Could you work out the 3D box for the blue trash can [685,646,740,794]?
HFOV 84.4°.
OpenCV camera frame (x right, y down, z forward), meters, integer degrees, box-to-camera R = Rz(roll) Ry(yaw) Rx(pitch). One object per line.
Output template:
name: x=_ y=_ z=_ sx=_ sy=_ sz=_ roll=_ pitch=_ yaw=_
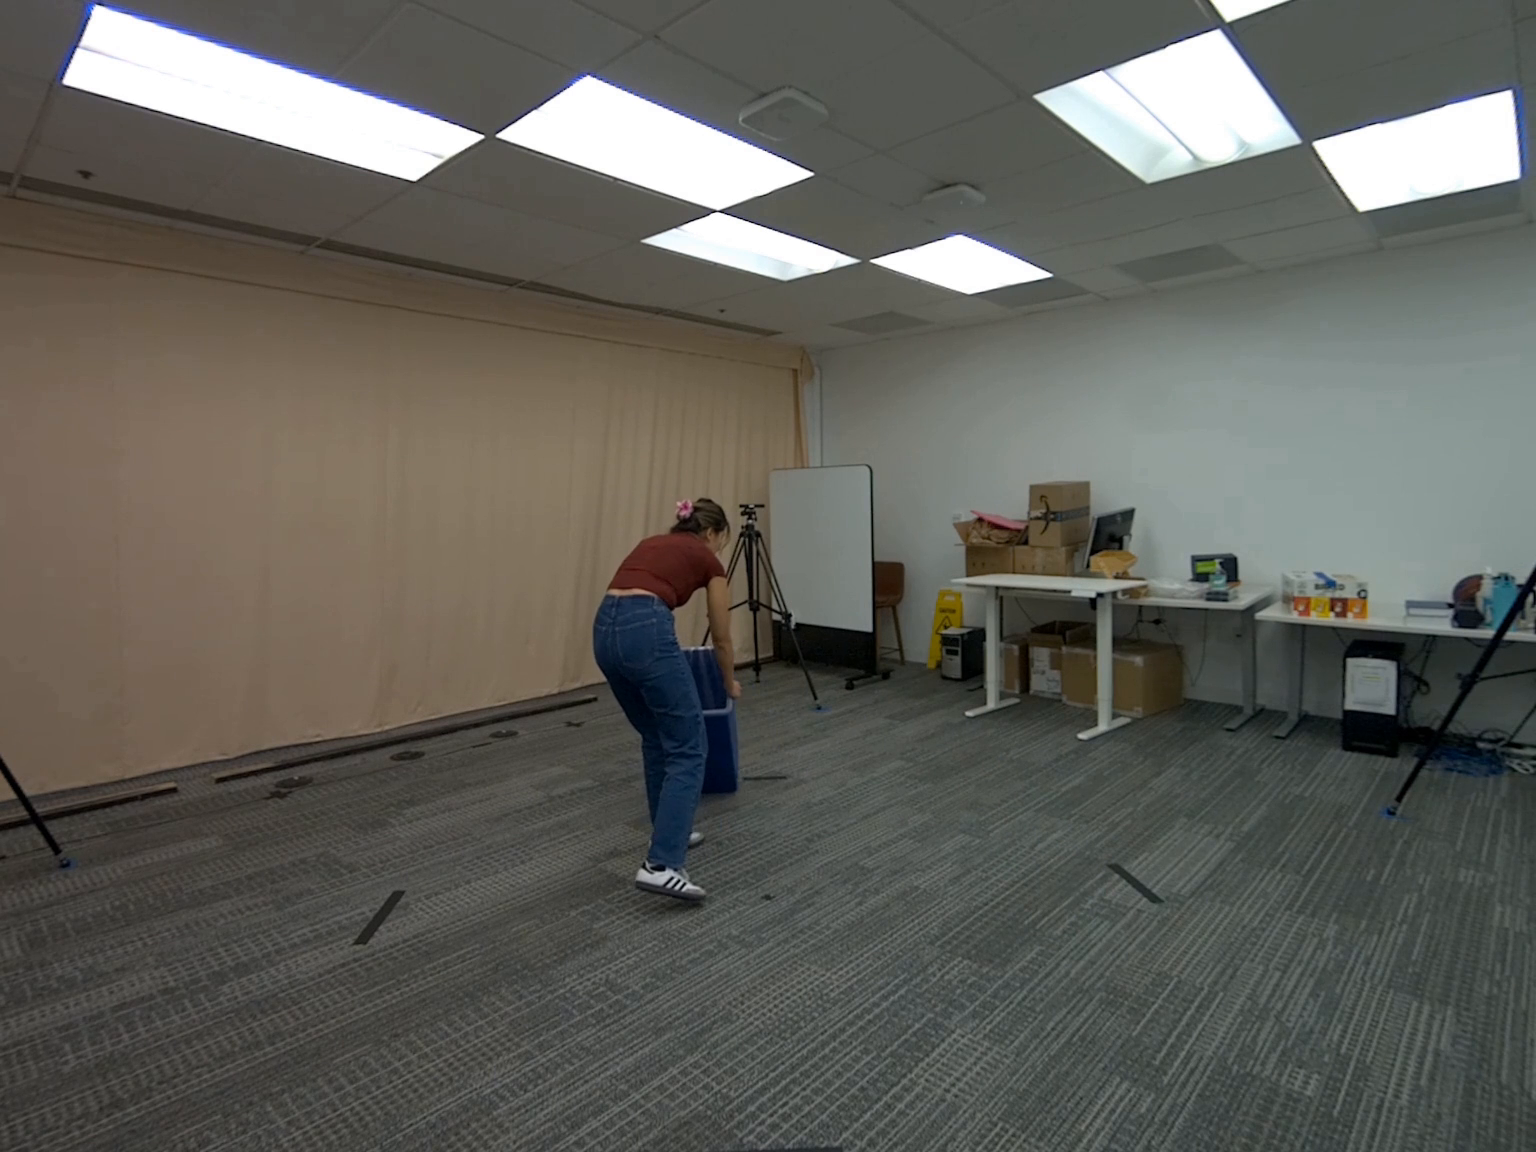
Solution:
blue trash can: x=-0.311 y=0.707 z=3.937 sx=0.379 sy=0.697 sz=0.381 roll=-4 pitch=44 yaw=2
